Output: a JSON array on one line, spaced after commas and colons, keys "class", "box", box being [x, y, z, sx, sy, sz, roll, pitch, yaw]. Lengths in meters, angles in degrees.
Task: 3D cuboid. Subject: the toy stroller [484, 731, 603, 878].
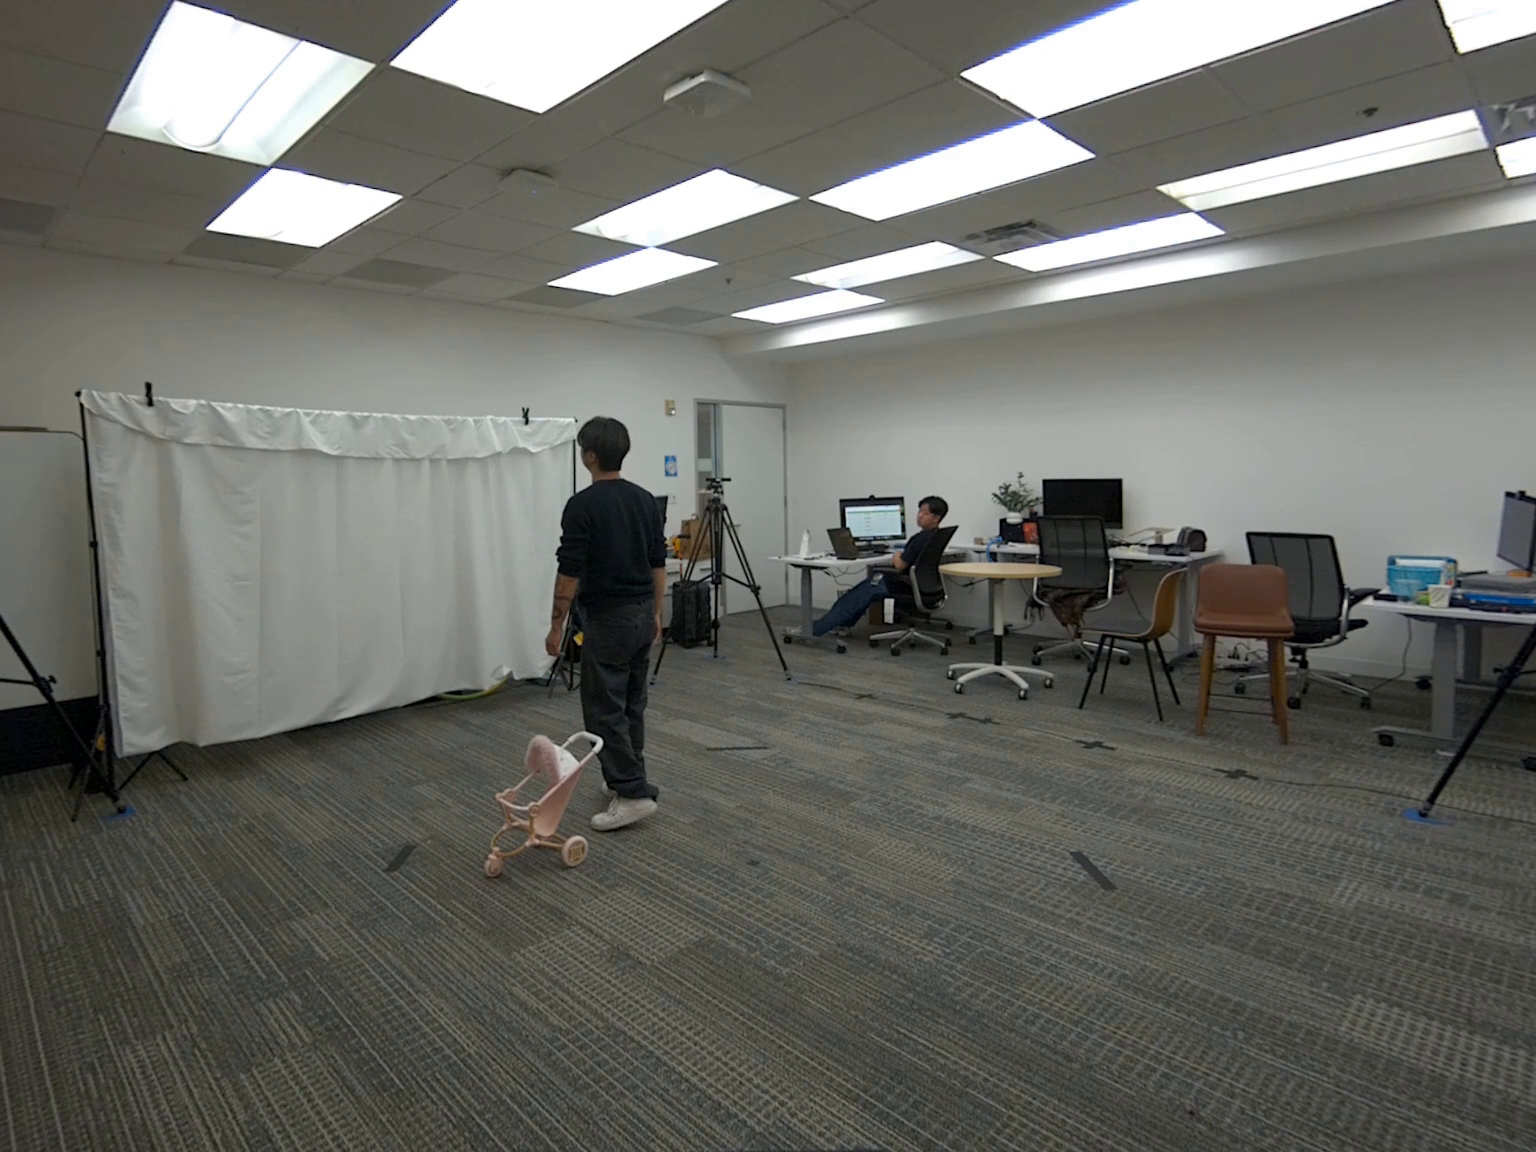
[{"class": "toy stroller", "box": [-0.841, 0.828, 3.148, 0.330, 0.537, 0.290, 16, -7, -37]}]
